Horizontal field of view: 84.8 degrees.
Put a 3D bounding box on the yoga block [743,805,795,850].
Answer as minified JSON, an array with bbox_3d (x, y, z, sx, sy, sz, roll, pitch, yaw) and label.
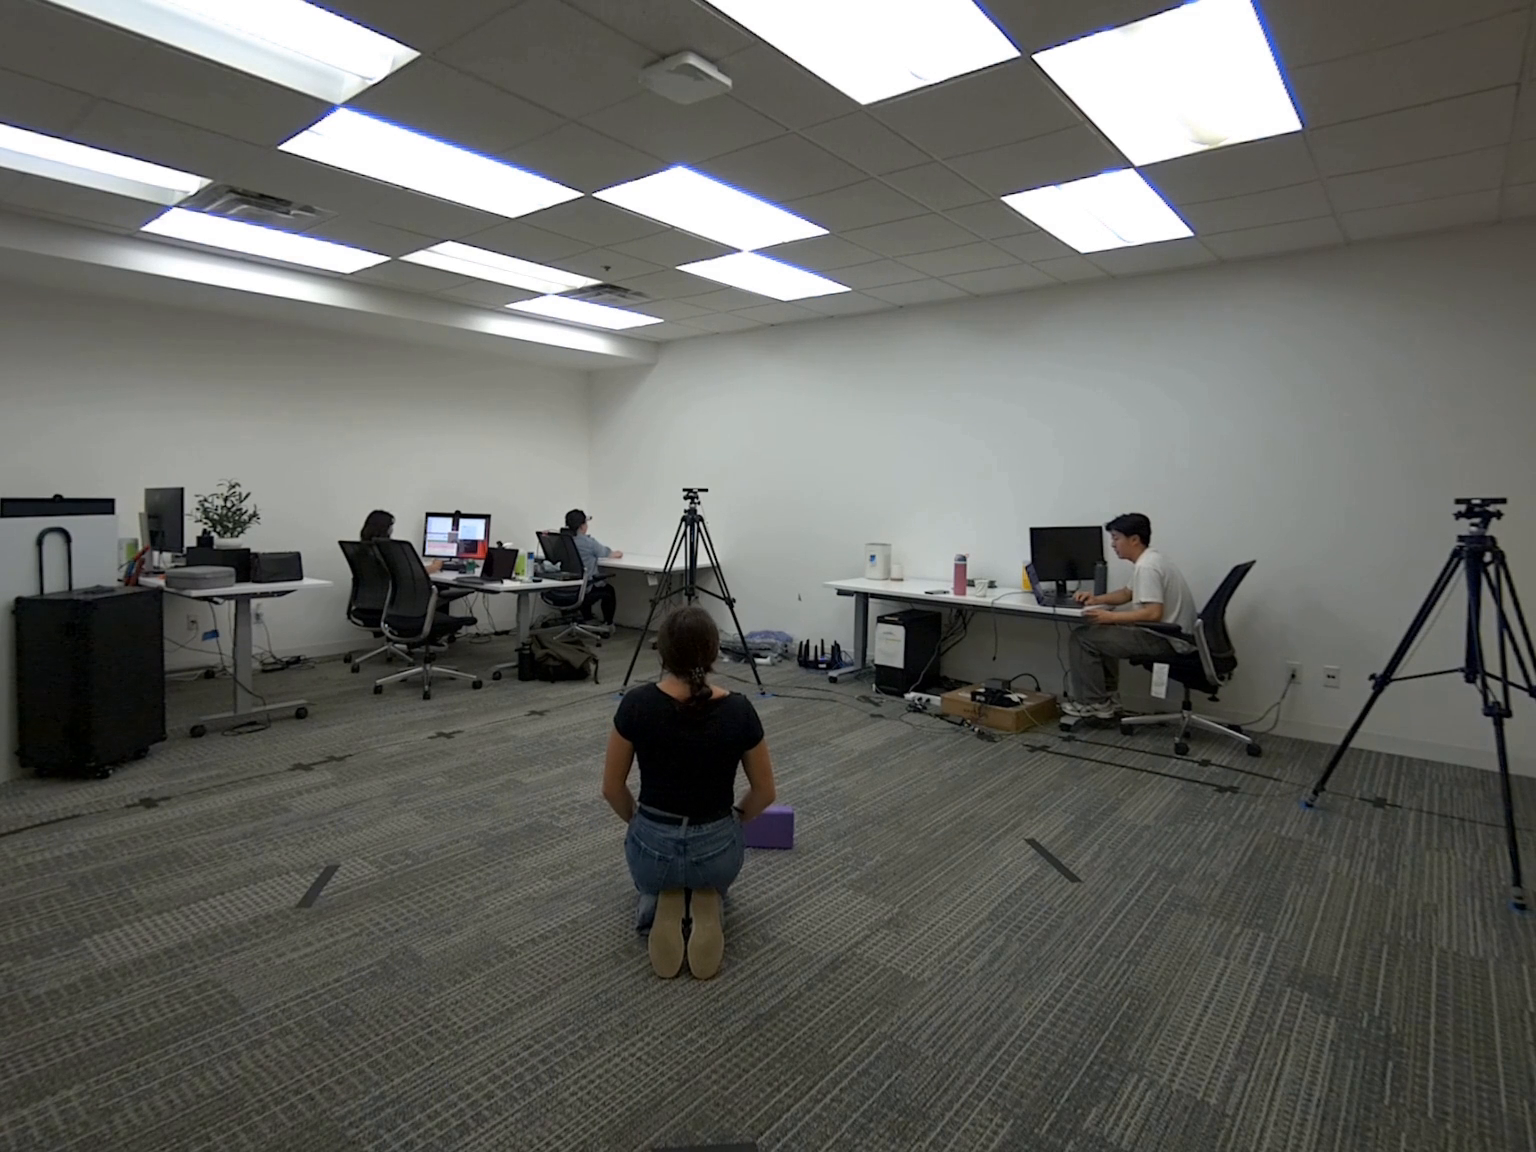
[{"bbox_3d":[-0.014,0.969,3.332,0.230,0.149,0.076,1,2,2],"label":"yoga block"}]
